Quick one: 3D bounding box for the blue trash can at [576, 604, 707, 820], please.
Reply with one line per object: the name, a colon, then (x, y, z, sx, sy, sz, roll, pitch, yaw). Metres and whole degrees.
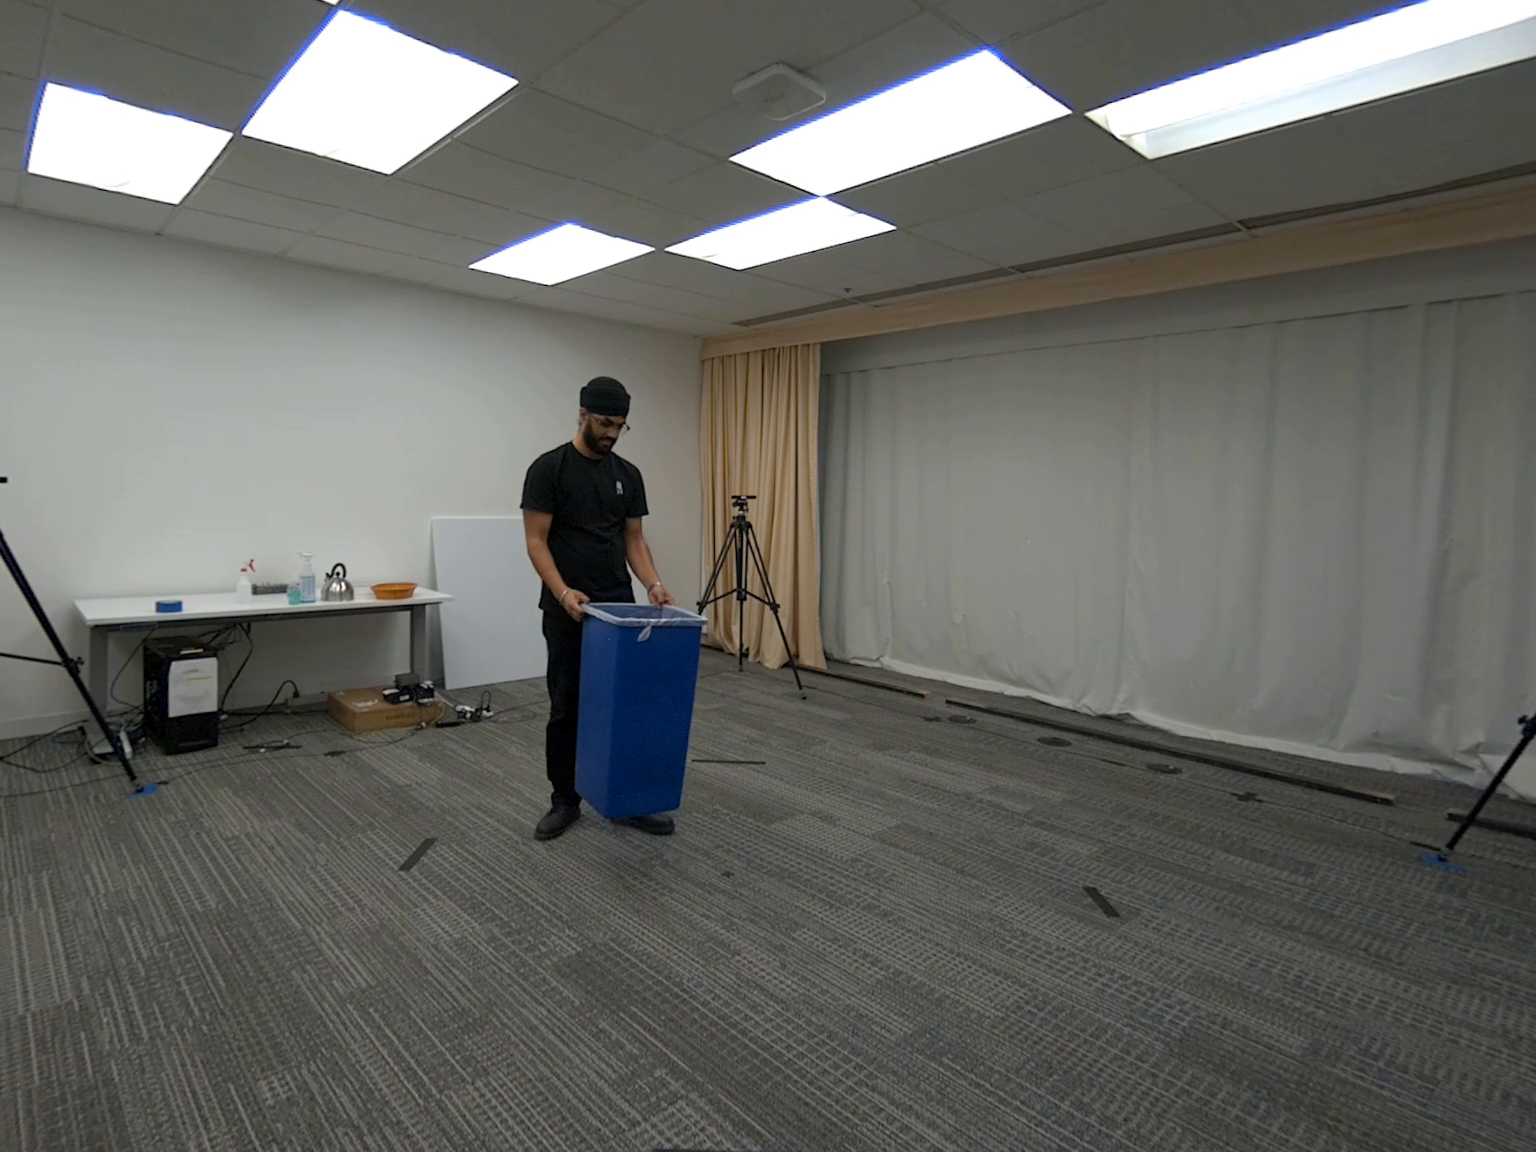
blue trash can: (-0.505, 0.486, 3.124, 0.369, 0.711, 0.384, 3, 5, -34)
